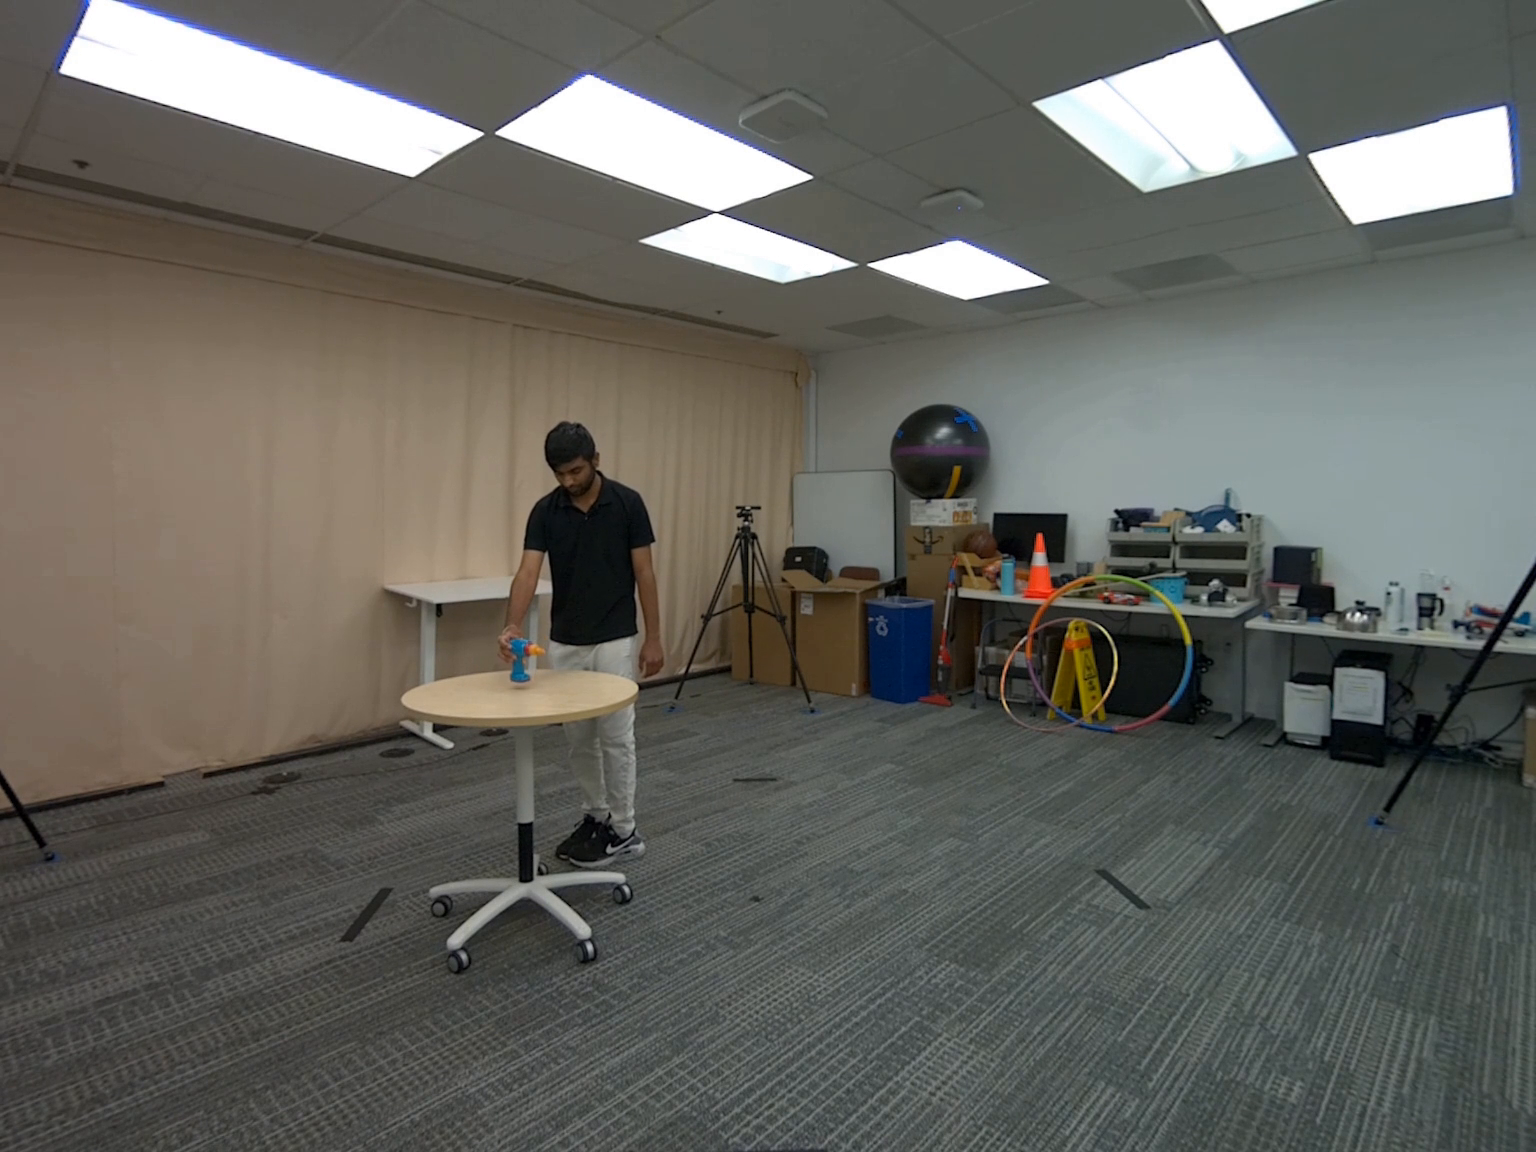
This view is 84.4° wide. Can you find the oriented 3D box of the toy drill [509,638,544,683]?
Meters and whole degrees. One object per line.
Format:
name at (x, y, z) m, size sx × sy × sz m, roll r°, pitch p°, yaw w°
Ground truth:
toy drill at (-0.793, 0.277, 2.802) m, size 0.174 × 0.145 × 0.060 m, roll 1°, pitch 8°, yaw 30°
